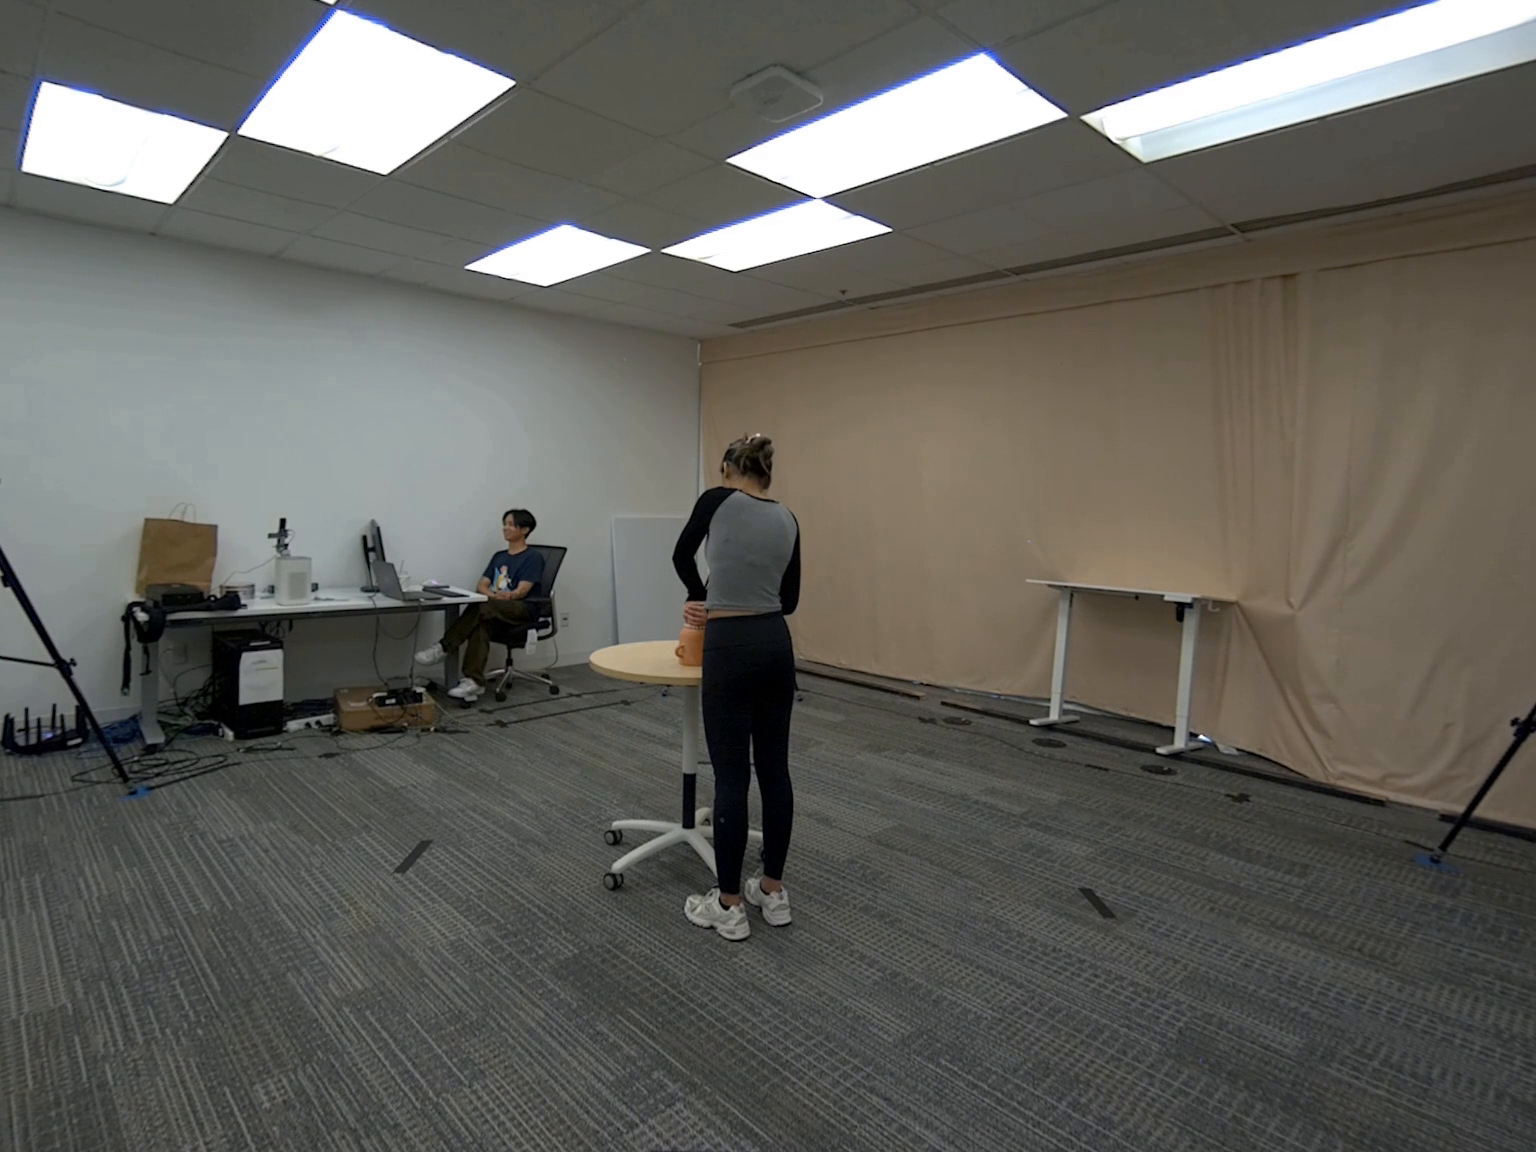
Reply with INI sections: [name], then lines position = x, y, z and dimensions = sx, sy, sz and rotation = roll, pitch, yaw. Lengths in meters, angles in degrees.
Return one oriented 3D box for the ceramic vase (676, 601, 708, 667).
[ceramic vase]
position = -0.259, 0.208, 3.040
dimensions = 0.135, 0.219, 0.158
rotation = 2, 2, 6
